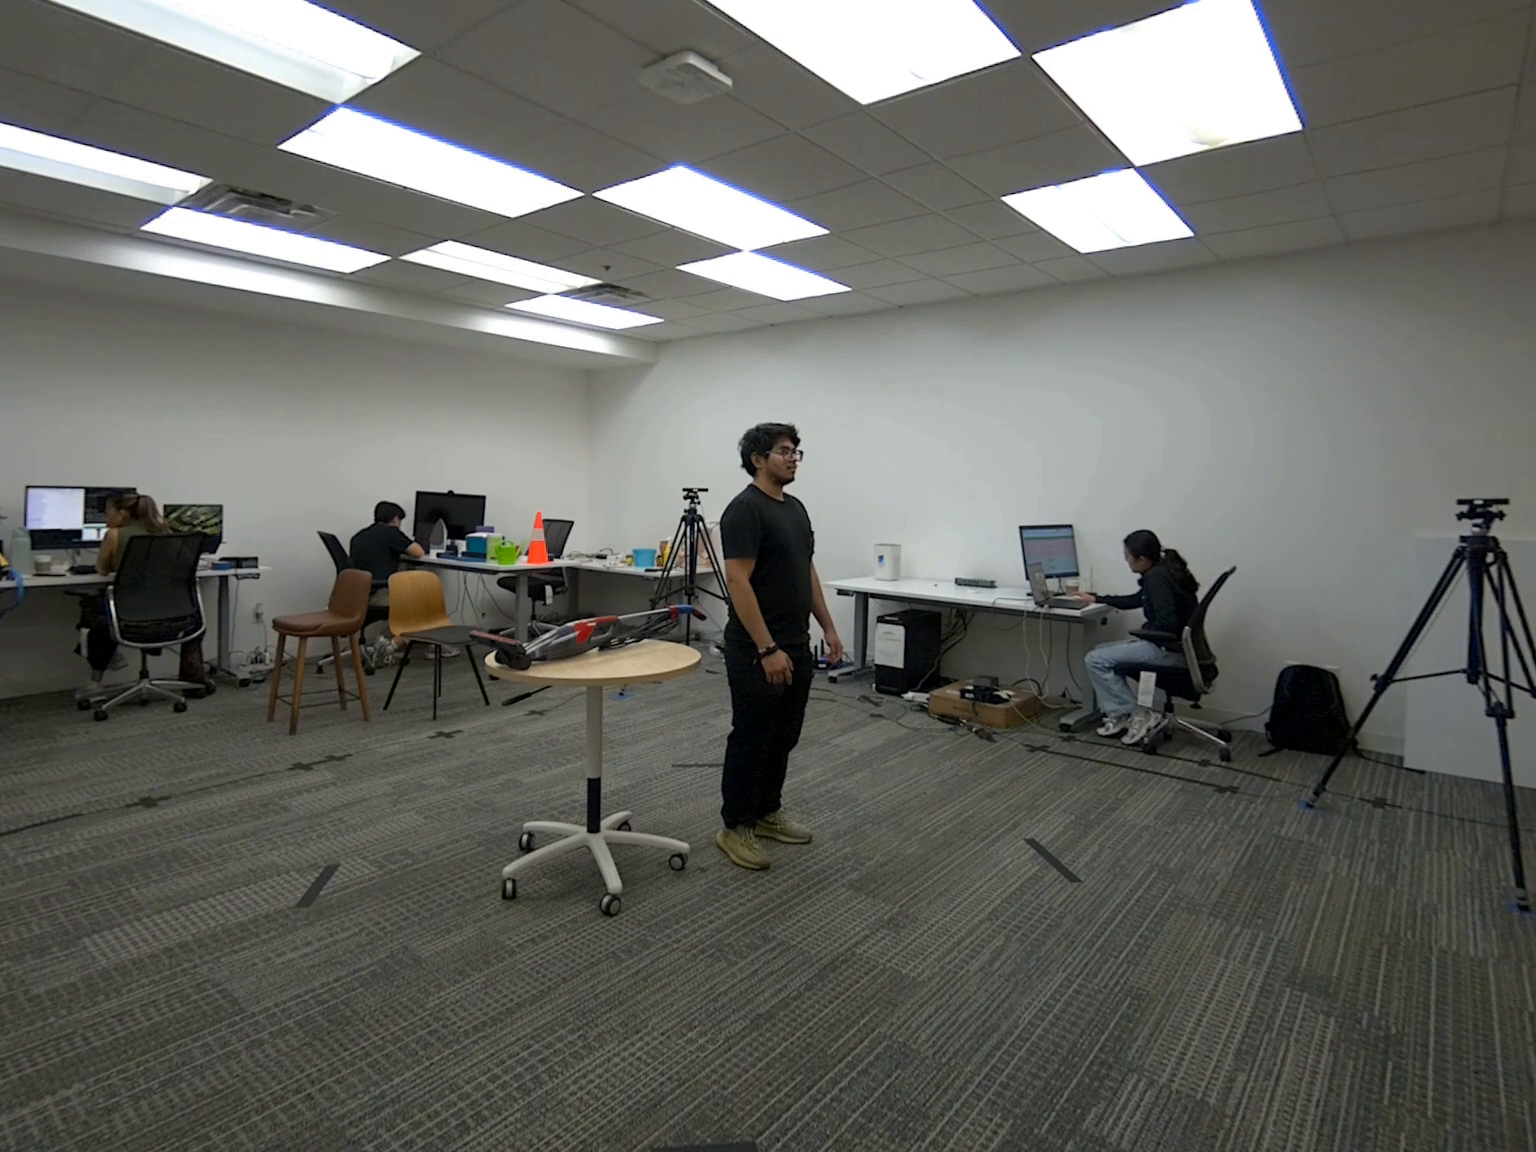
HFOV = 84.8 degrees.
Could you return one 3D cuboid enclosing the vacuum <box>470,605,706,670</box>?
[{"bbox_3d":[-0.608,0.222,3.212,0.262,0.143,1.020,12,12,37],"label":"vacuum"}]
